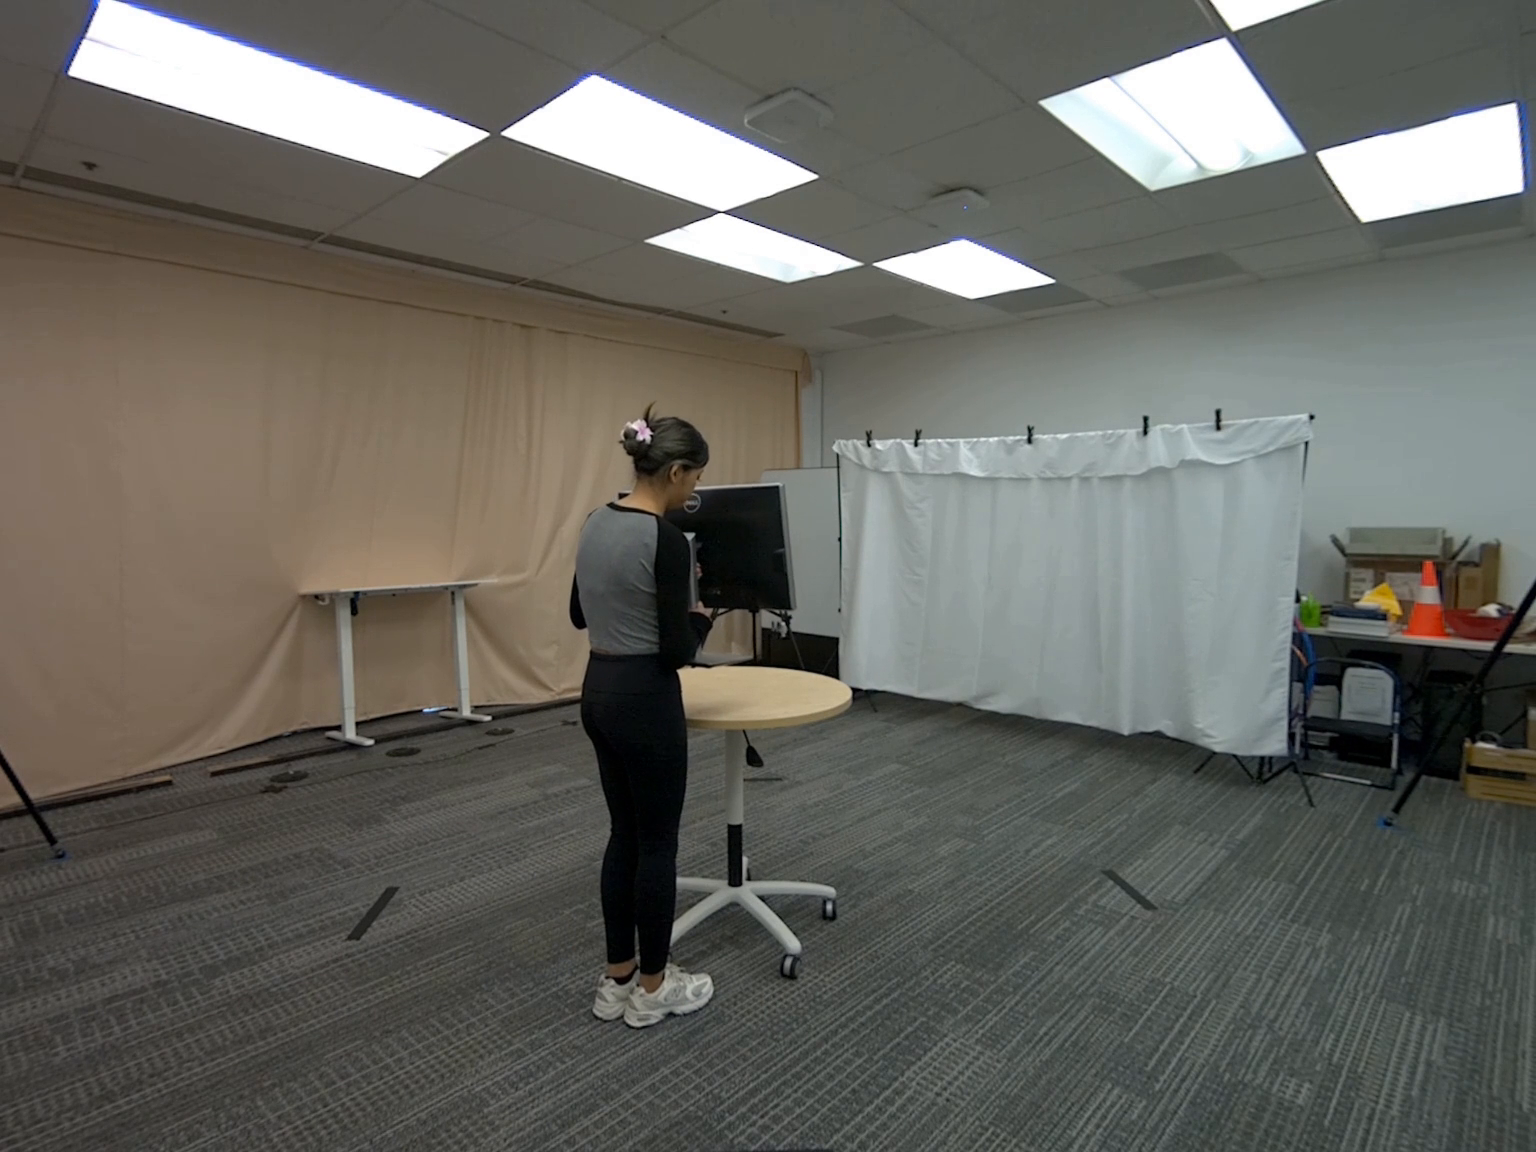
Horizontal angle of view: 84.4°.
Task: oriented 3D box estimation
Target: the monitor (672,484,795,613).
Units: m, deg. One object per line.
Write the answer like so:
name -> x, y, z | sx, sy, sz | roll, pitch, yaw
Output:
monitor -> -0.201, 0.000, 2.455 | 0.554, 0.523, 0.182 | 0, -2, 28
